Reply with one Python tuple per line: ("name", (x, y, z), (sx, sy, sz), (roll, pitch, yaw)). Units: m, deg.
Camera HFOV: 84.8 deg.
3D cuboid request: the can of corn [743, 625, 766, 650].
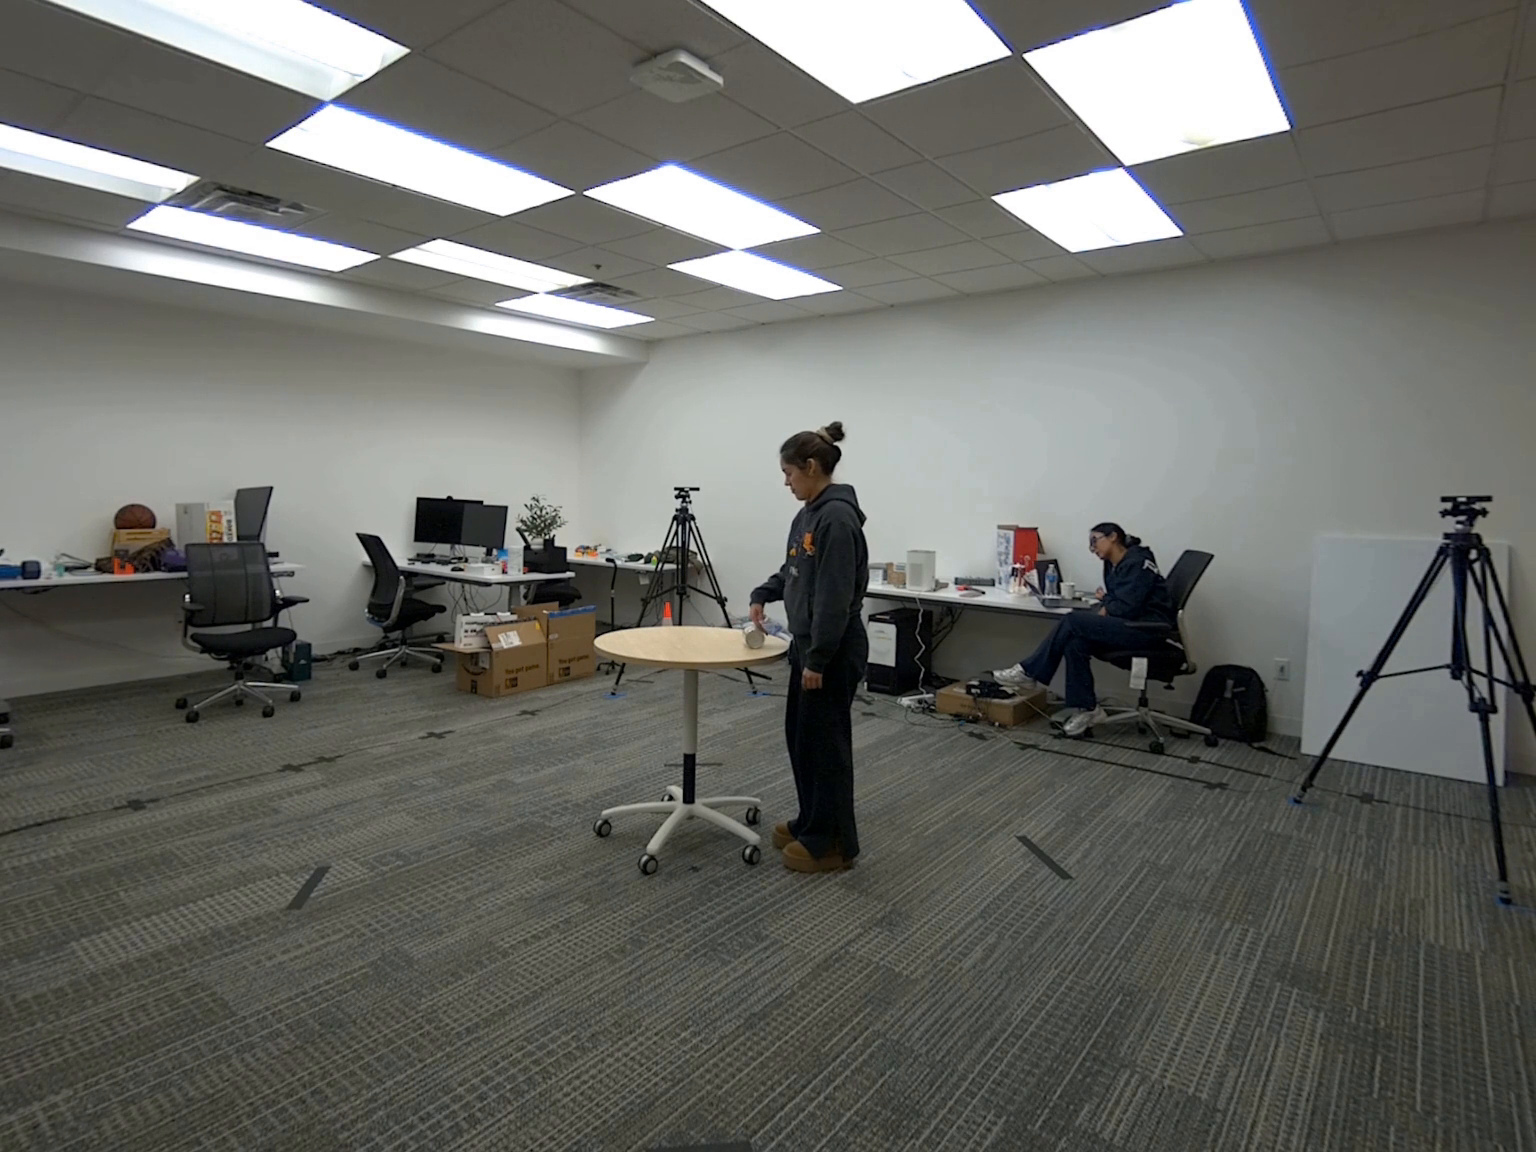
("can of corn", (-0.063, 0.233, 3.307), (0.074, 0.074, 0.112), (0, 5, -6))
